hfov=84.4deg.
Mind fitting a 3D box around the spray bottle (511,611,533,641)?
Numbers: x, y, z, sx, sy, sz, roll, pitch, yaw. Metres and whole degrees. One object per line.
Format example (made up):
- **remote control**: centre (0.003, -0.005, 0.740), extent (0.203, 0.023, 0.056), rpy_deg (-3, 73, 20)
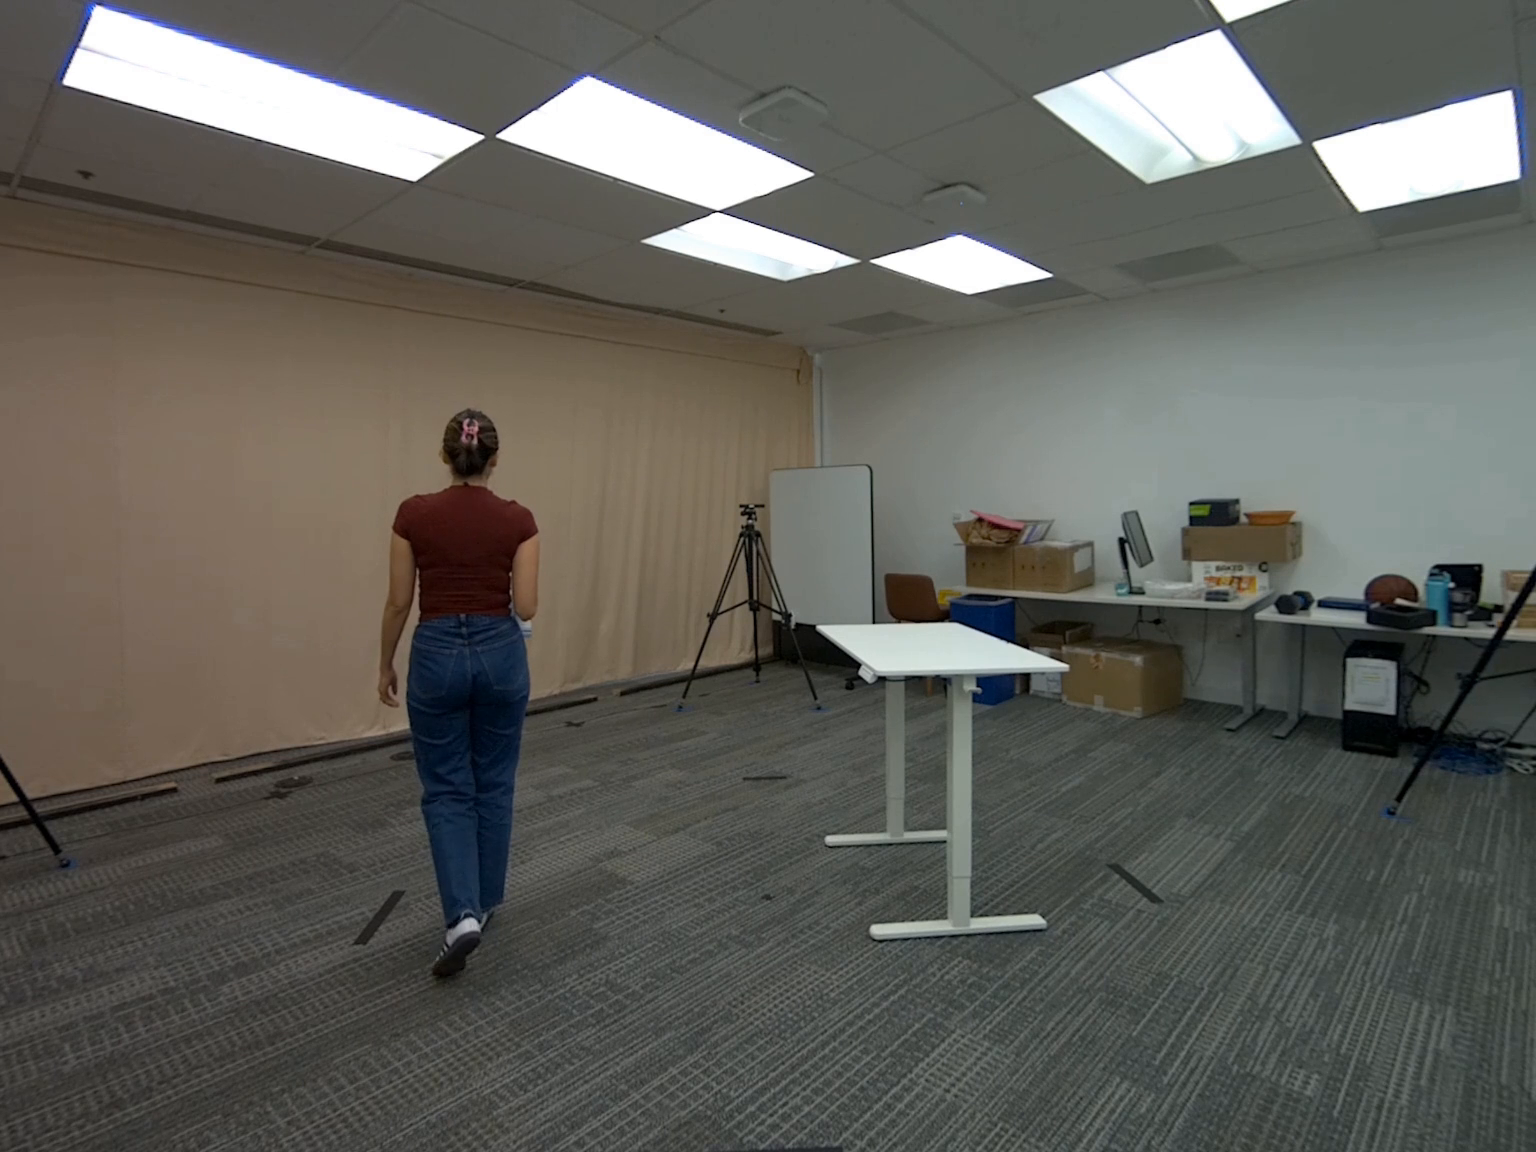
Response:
- **spray bottle**: centre (-0.871, 0.073, 2.971), extent (0.088, 0.298, 0.089), rpy_deg (-2, -6, 10)
